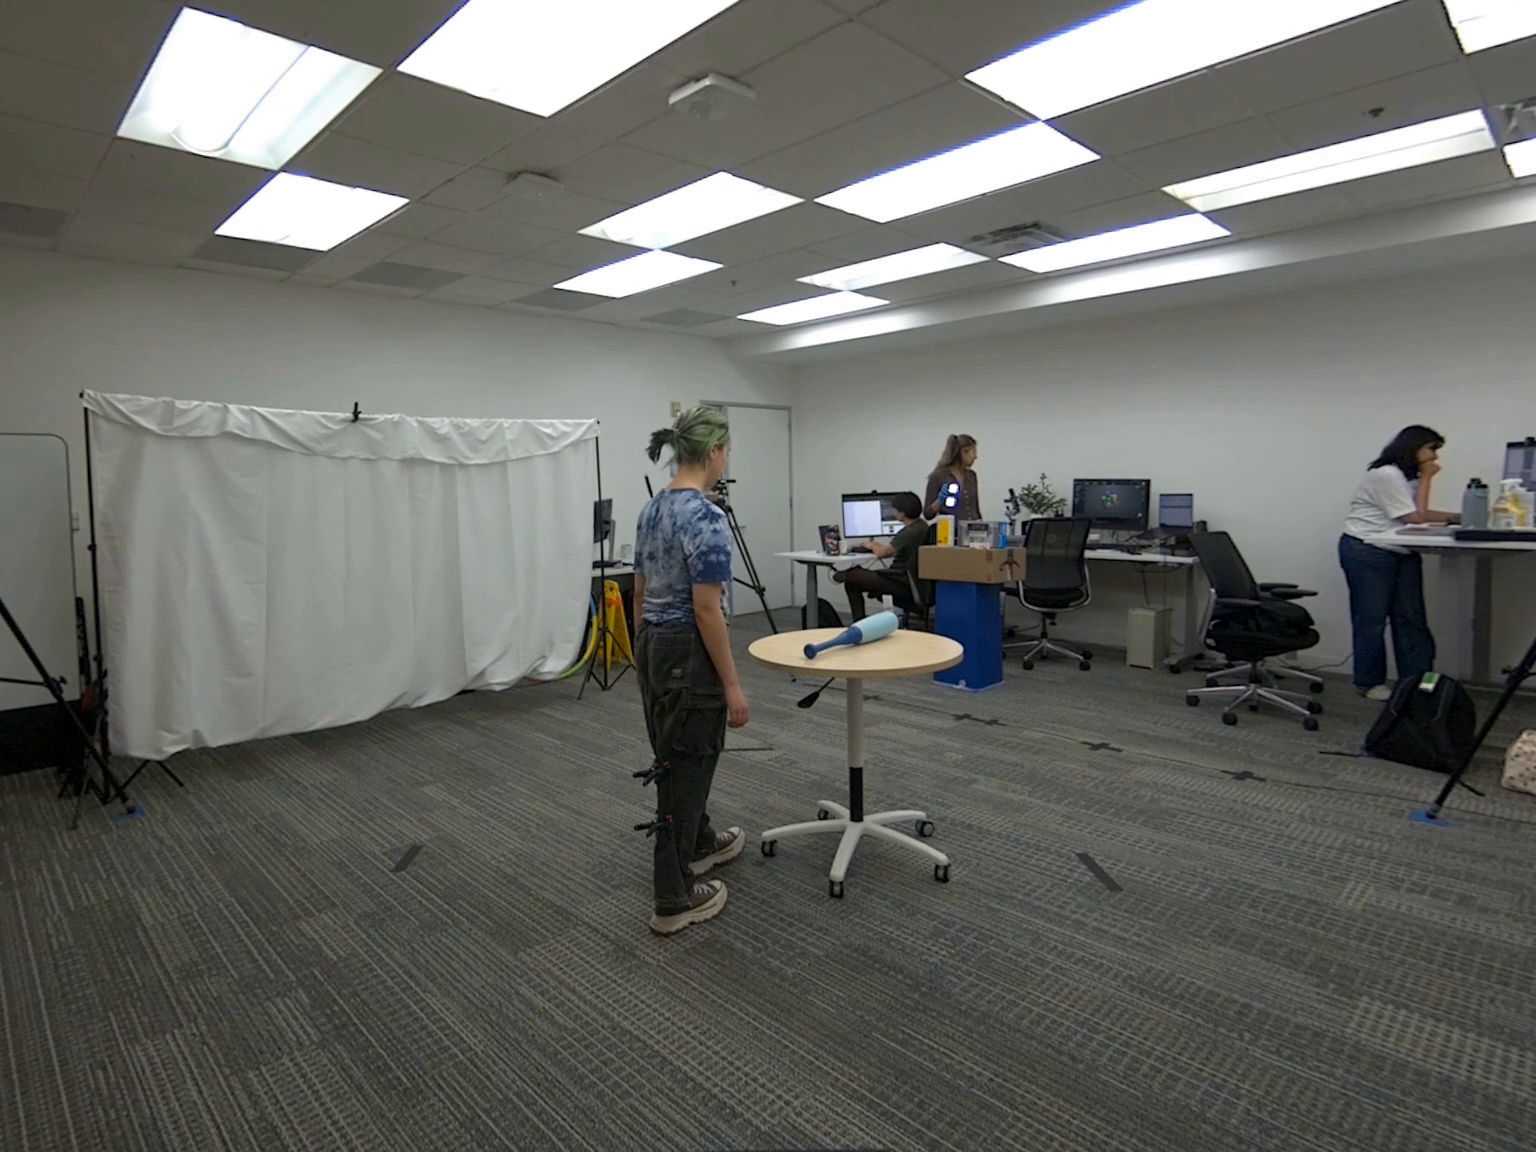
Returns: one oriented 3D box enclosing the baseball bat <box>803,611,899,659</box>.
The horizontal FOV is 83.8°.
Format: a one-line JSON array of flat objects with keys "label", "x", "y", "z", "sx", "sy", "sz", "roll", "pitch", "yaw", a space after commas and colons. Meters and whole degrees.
[{"label": "baseball bat", "x": 0.307, "y": 0.222, "z": 3.099, "sx": 0.092, "sy": 0.088, "sz": 0.531, "roll": 3, "pitch": 11, "yaw": 38}]
